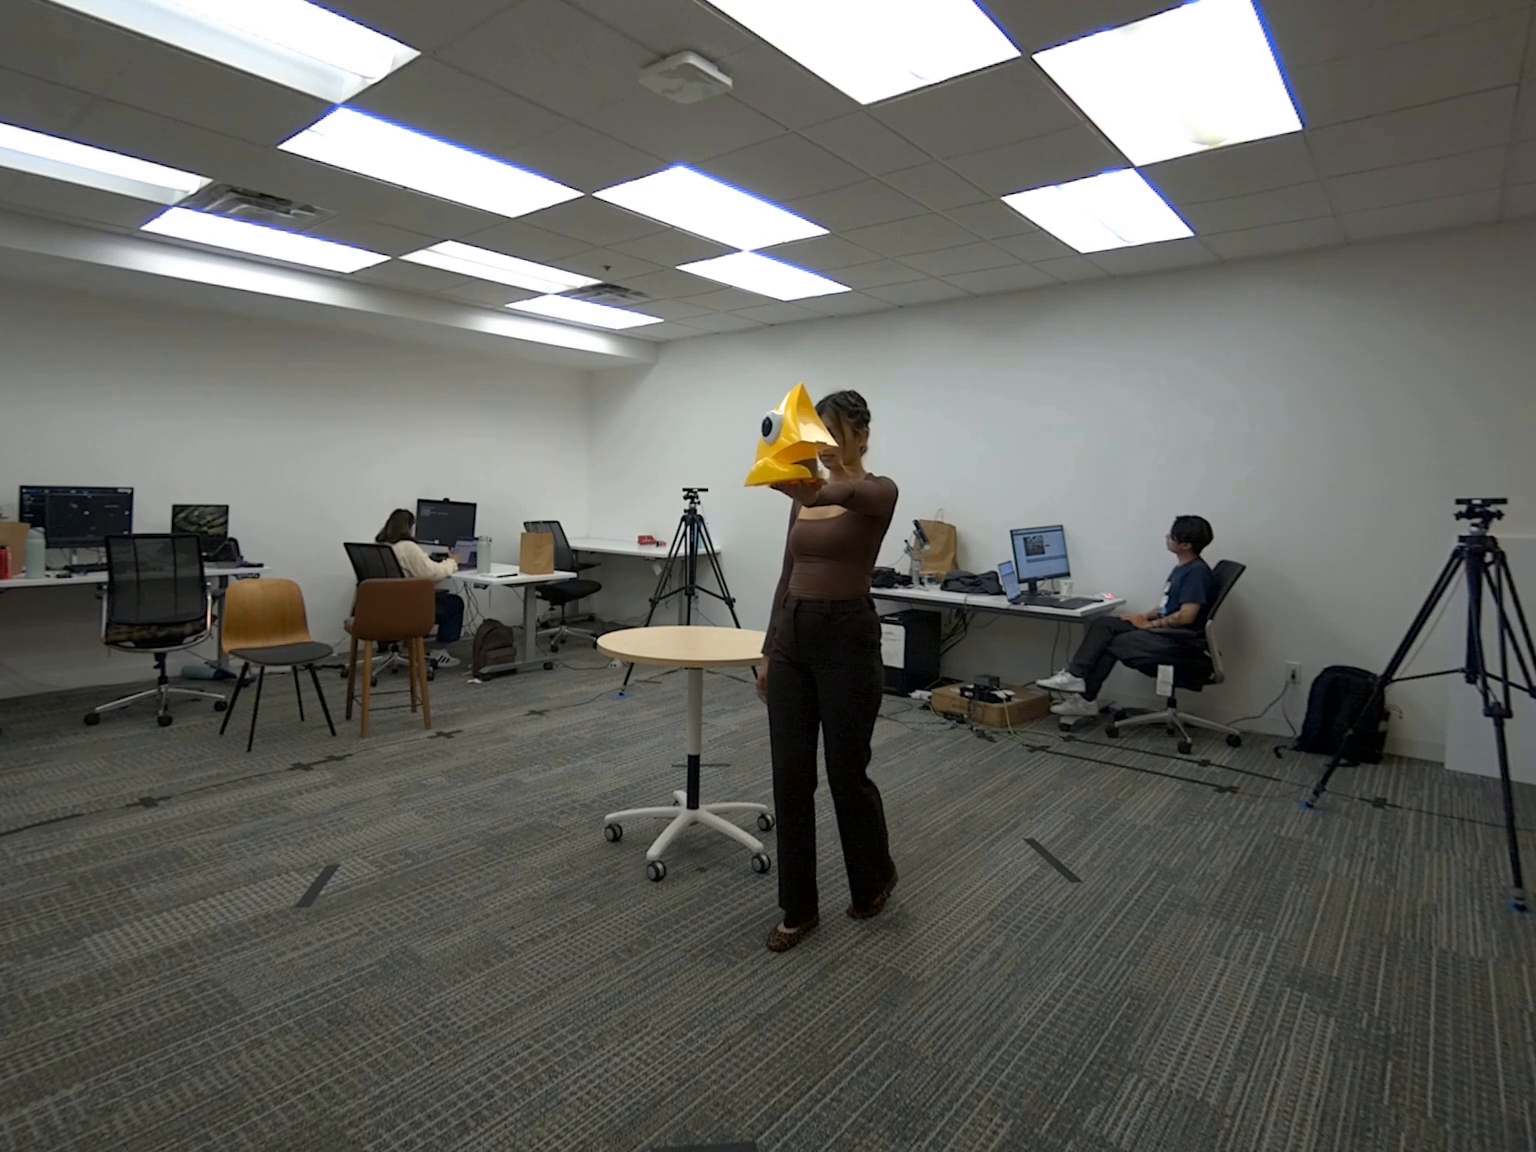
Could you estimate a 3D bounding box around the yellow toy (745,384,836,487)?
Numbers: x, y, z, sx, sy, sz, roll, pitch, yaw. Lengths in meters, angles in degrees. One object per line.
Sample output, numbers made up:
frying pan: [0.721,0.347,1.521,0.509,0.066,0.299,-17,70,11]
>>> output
yellow toy: [0.035,-0.341,2.038,0.198,0.231,0.199,-7,-1,29]
